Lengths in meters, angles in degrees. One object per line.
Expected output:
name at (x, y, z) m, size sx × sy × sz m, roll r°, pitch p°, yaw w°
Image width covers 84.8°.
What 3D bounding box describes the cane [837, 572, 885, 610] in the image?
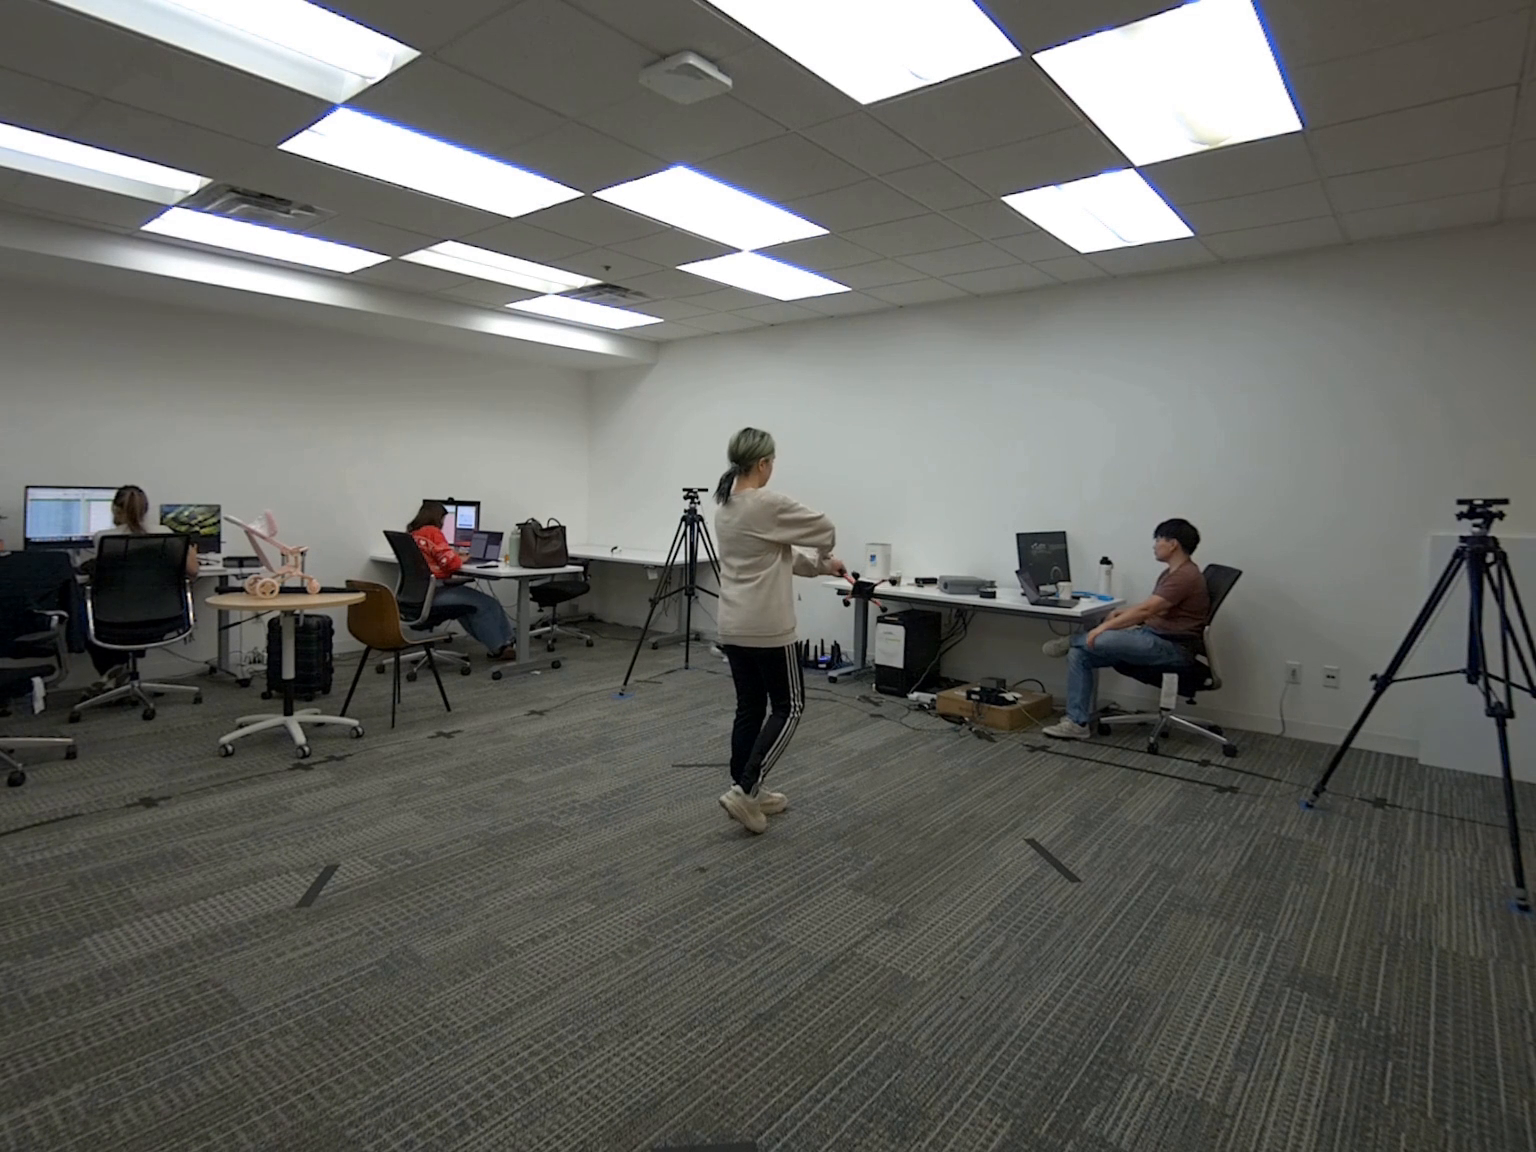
cane at (0.255, -0.098, 3.867) m, size 0.201 × 0.150 × 0.941 m, roll 12°, pitch 18°, yaw -25°
